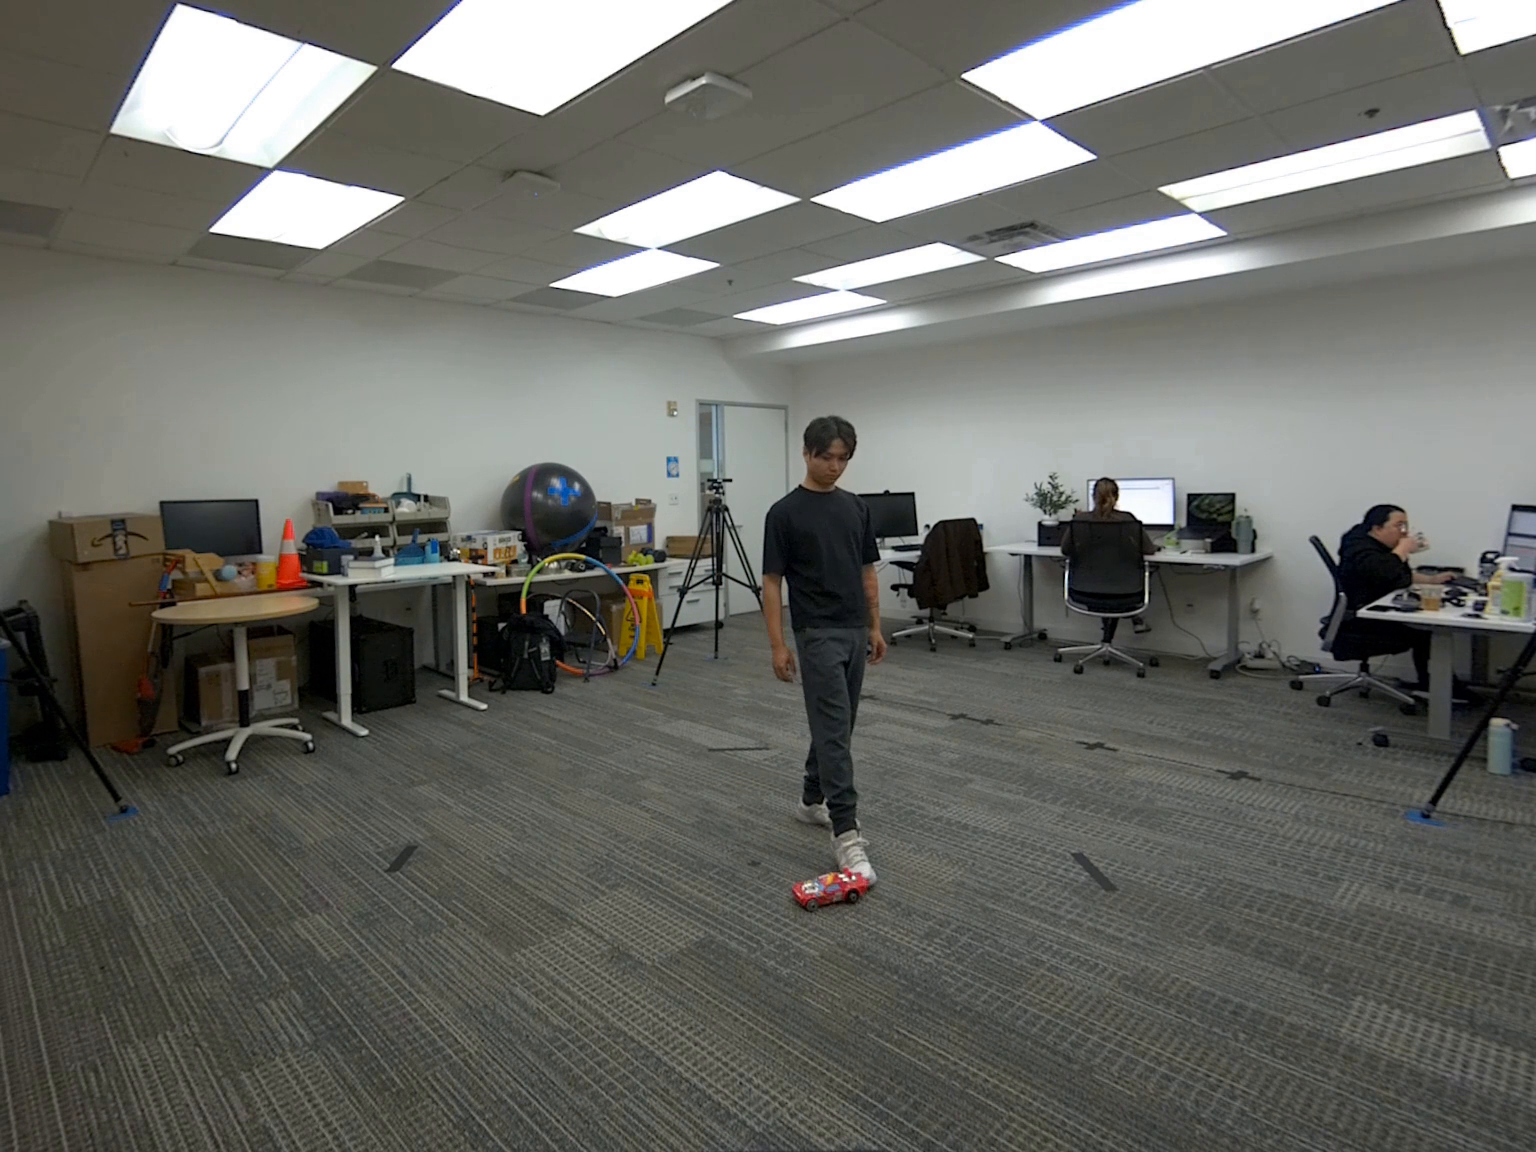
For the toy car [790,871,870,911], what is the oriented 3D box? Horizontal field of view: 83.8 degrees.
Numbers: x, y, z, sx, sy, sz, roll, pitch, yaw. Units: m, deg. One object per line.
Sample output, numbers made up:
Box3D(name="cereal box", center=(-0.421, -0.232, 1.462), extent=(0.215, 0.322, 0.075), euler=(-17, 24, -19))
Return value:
Box3D(name="toy car", center=(0.218, 1.040, 2.831), extent=(0.251, 0.082, 0.133), euler=(-14, 10, -17))
